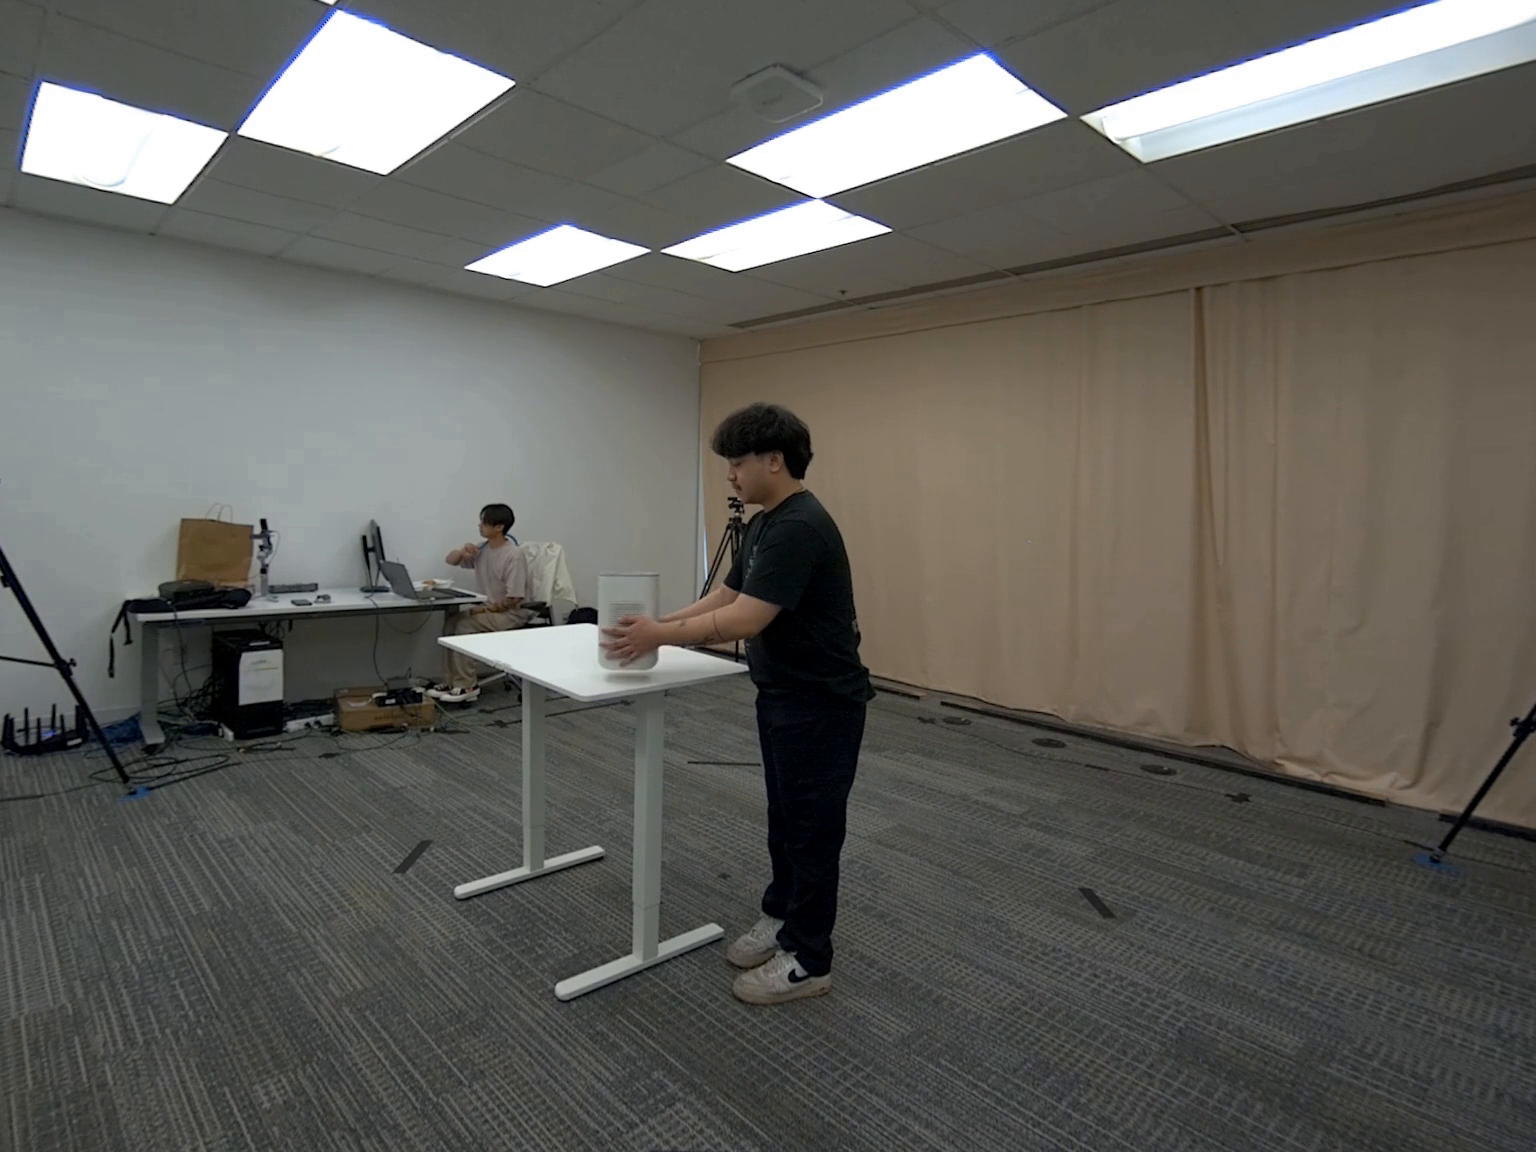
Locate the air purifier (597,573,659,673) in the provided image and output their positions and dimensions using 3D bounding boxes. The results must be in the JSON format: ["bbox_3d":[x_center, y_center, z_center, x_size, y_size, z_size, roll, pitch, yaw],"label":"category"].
[{"bbox_3d":[-0.389,0.129,2.378,0.171,0.265,0.172,1,3,-7],"label":"air purifier"}]
